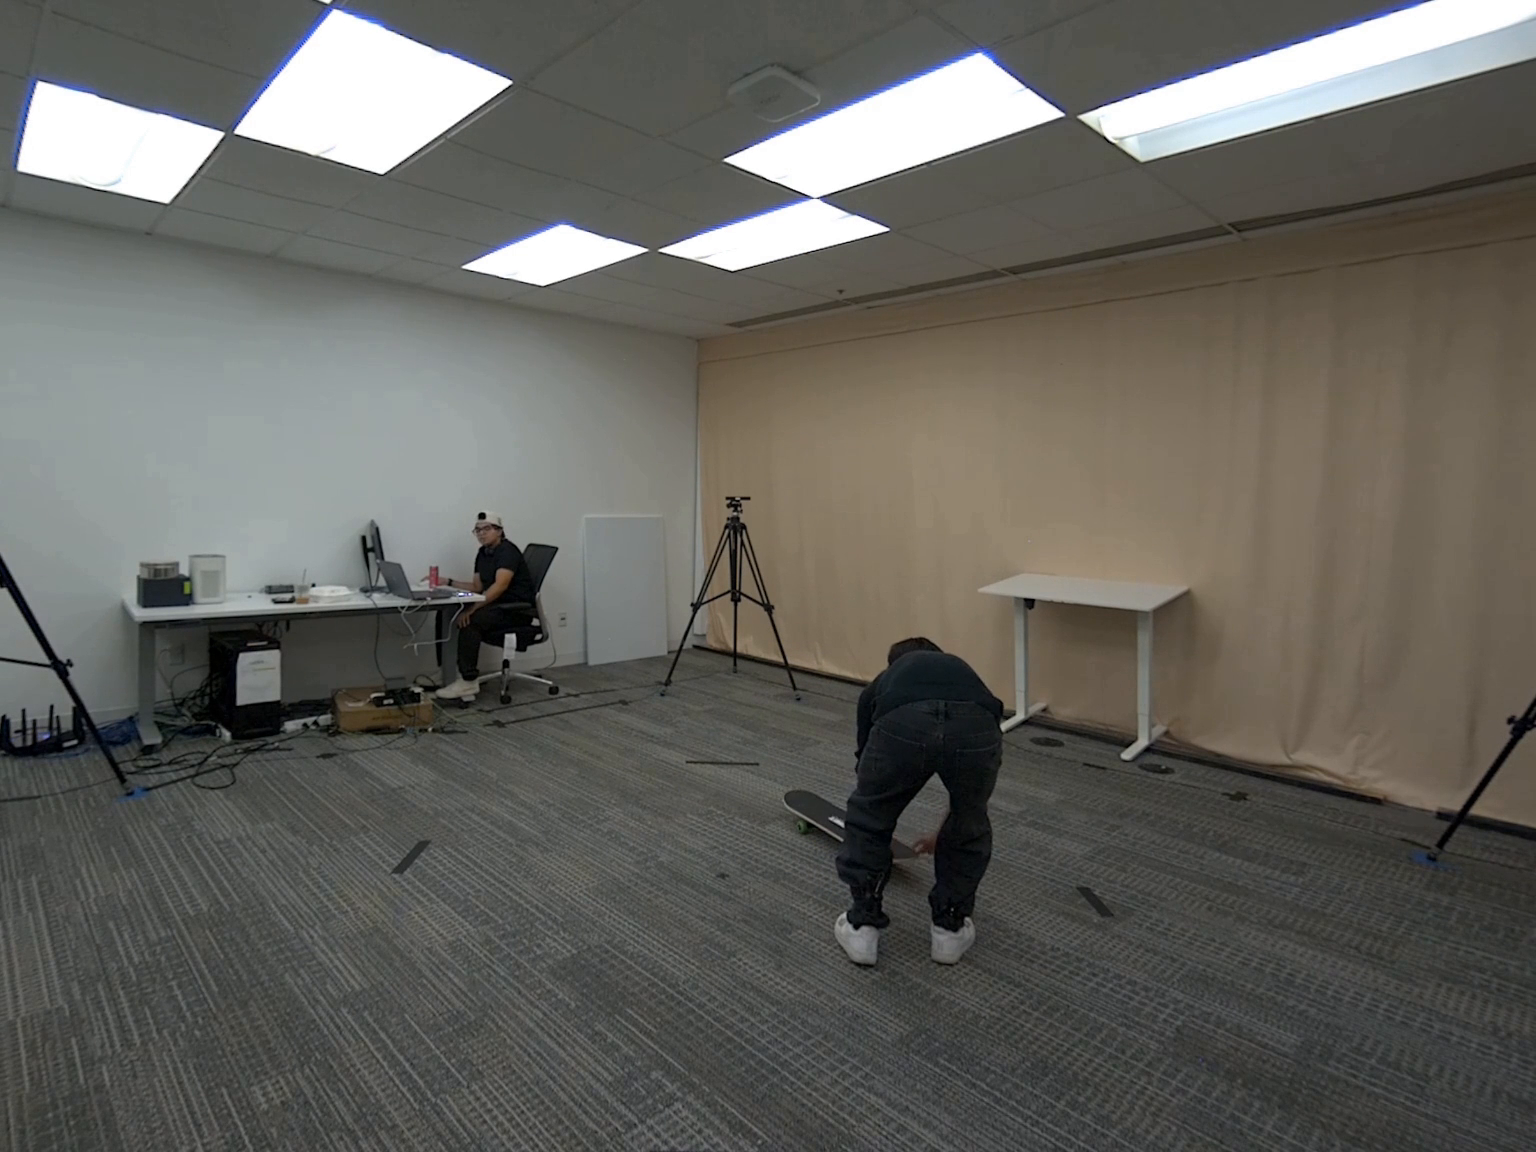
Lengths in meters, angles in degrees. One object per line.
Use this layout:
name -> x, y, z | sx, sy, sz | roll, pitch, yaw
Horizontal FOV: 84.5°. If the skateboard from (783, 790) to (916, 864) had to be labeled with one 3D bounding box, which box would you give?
skateboard -> 0.306, 1.037, 3.383 | 0.189, 0.110, 0.803 | 0, 5, -30
